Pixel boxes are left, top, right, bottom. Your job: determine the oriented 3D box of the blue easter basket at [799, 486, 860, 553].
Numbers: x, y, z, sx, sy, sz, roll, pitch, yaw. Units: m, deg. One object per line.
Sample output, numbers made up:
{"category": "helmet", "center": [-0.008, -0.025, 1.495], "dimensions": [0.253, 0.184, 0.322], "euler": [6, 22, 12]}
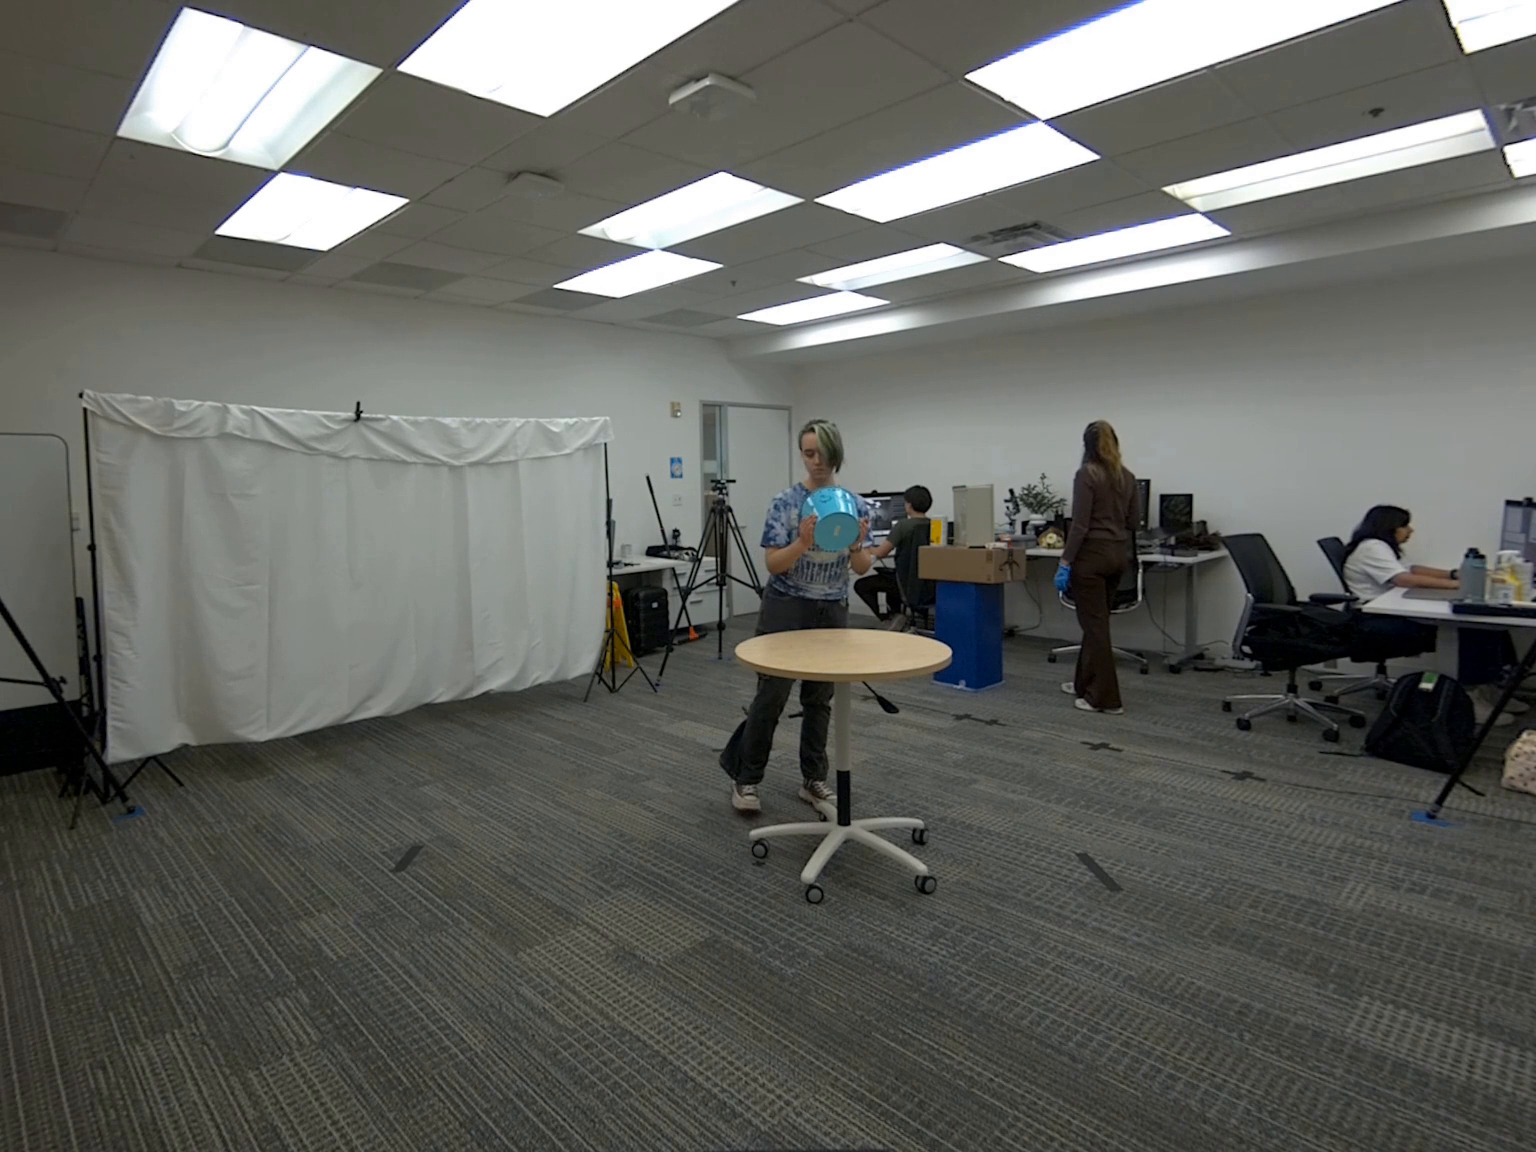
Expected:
{"category": "blue easter basket", "center": [0.246, -0.217, 3.362], "dimensions": [0.242, 0.238, 0.160], "euler": [-1, 34, -7]}
